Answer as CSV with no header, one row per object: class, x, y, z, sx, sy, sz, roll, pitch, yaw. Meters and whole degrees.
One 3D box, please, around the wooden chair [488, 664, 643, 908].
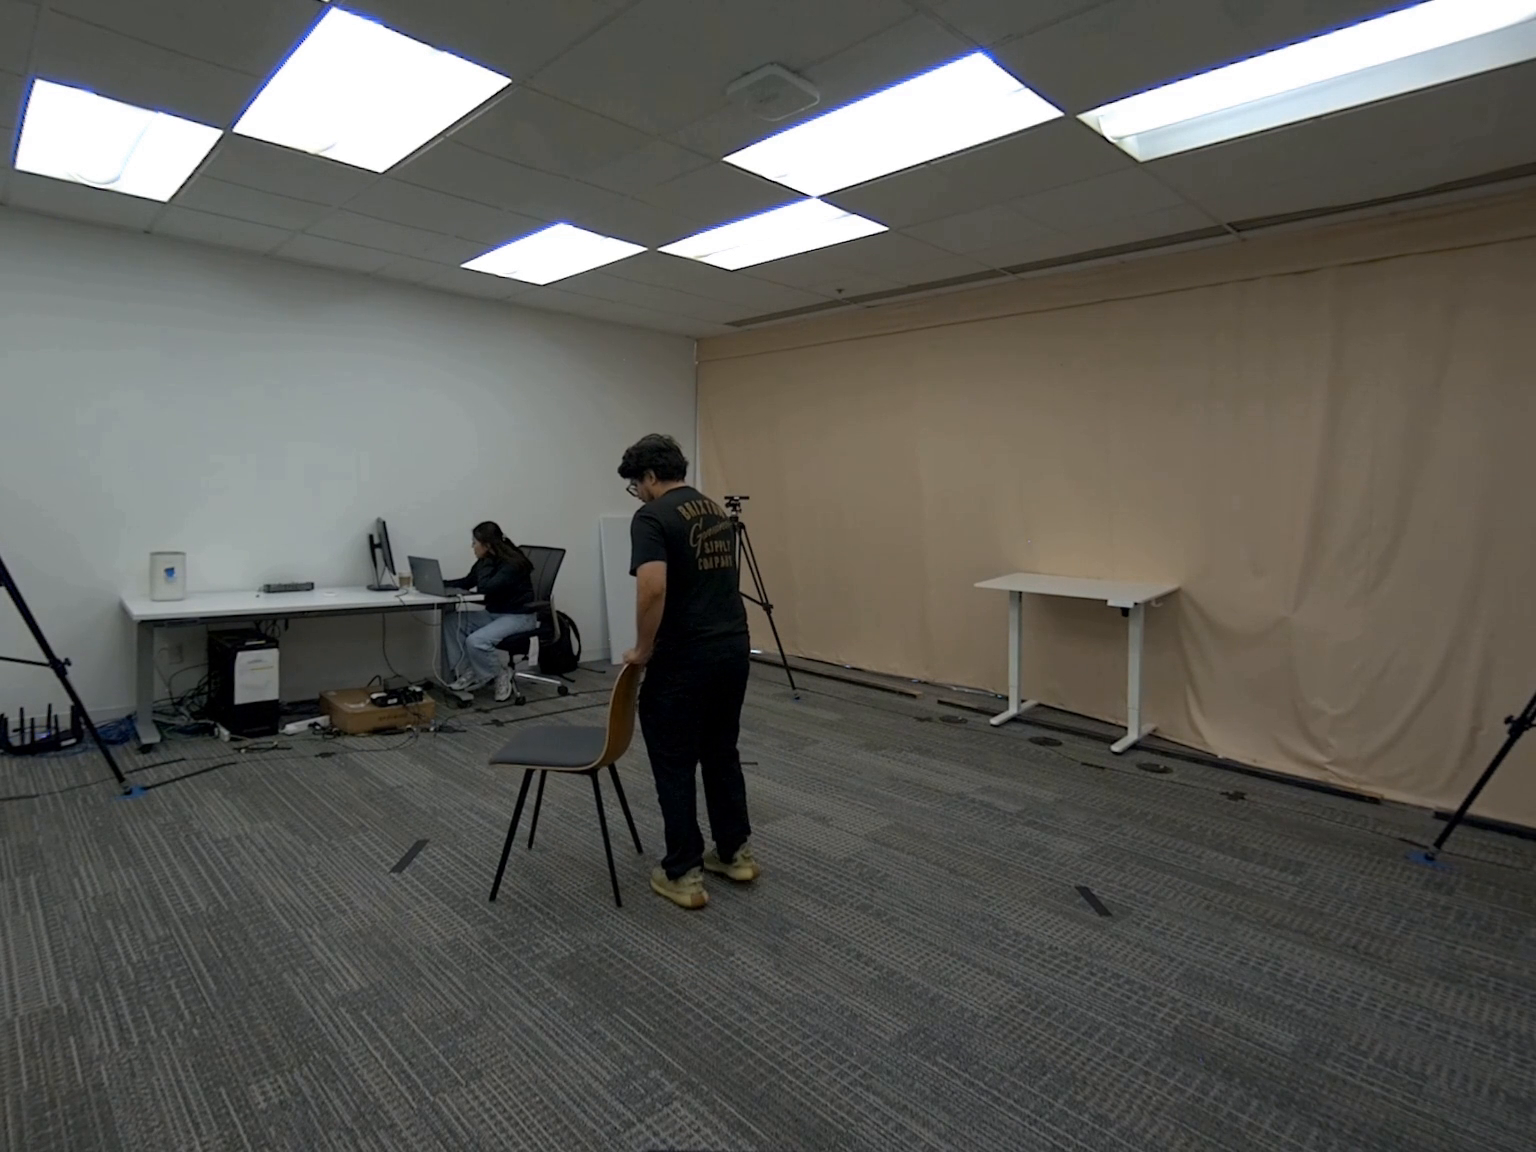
wooden chair,-0.718,0.665,3.029,0.524,0.875,0.479,6,5,1
